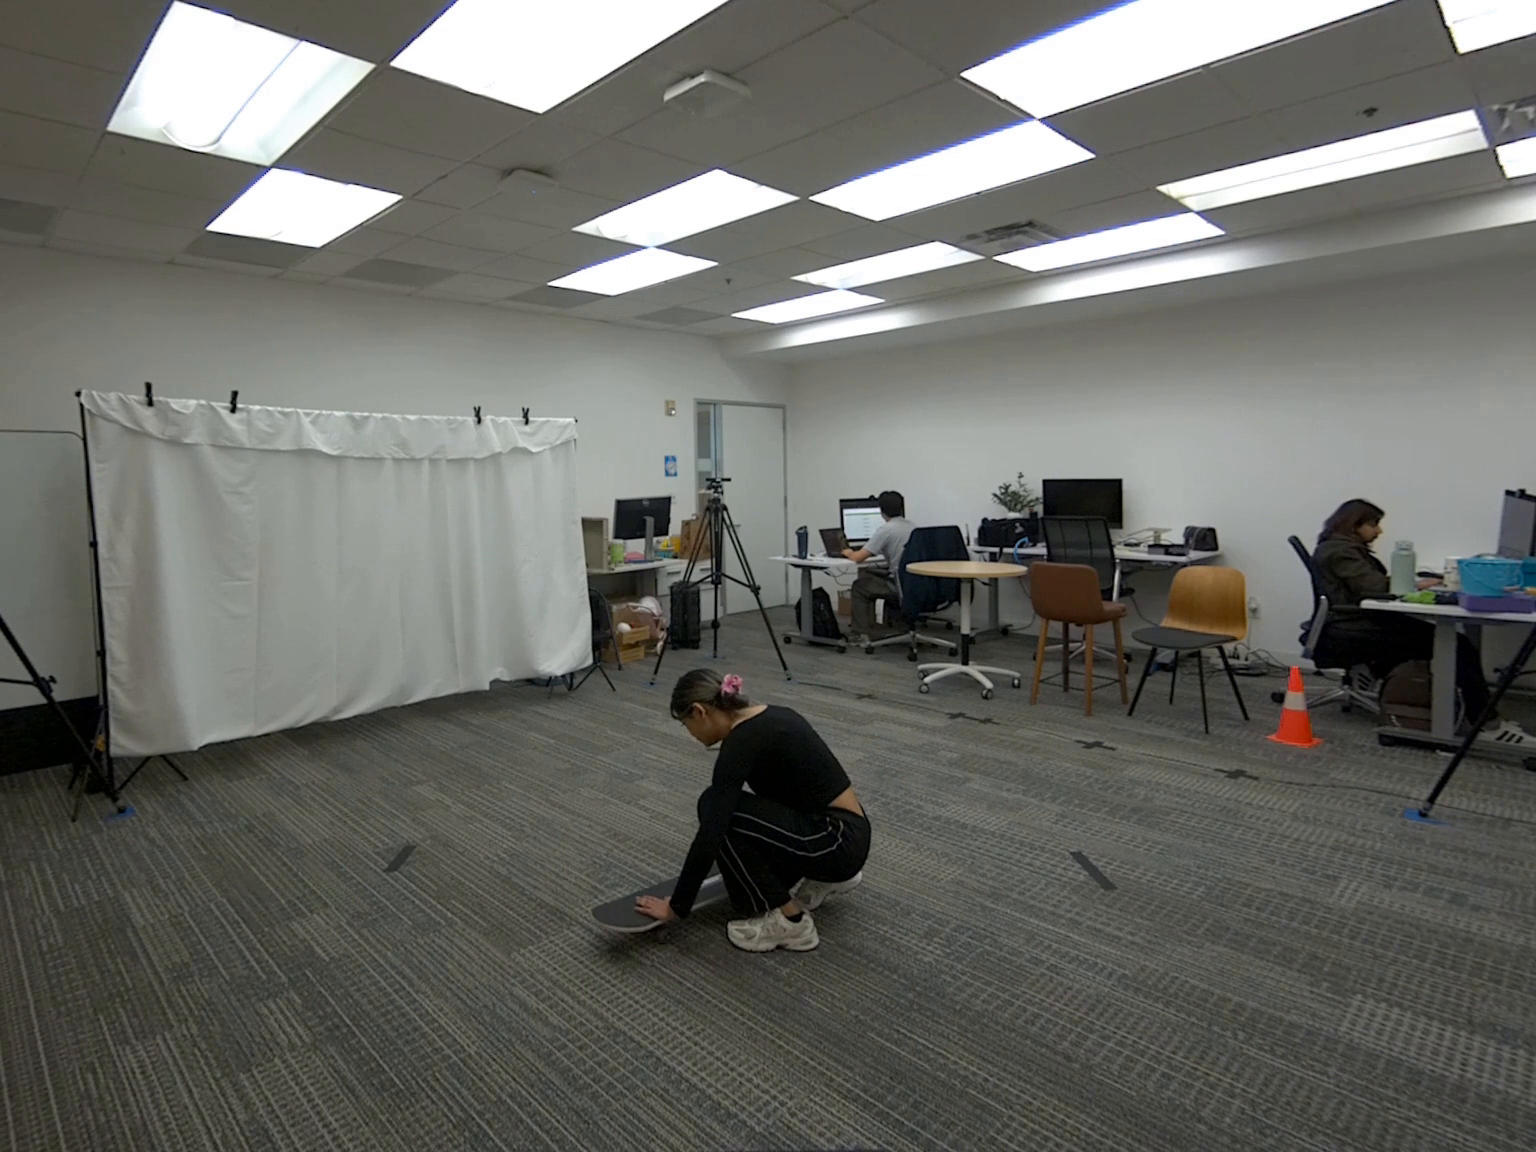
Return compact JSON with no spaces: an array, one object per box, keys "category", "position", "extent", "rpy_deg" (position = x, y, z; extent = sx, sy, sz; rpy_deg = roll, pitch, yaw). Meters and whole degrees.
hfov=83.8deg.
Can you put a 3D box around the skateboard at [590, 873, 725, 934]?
[{"category":"skateboard","position":[-0.204,1.027,2.763],"extent":[0.765,0.110,0.199],"rpy_deg":[-7,7,-40]}]
